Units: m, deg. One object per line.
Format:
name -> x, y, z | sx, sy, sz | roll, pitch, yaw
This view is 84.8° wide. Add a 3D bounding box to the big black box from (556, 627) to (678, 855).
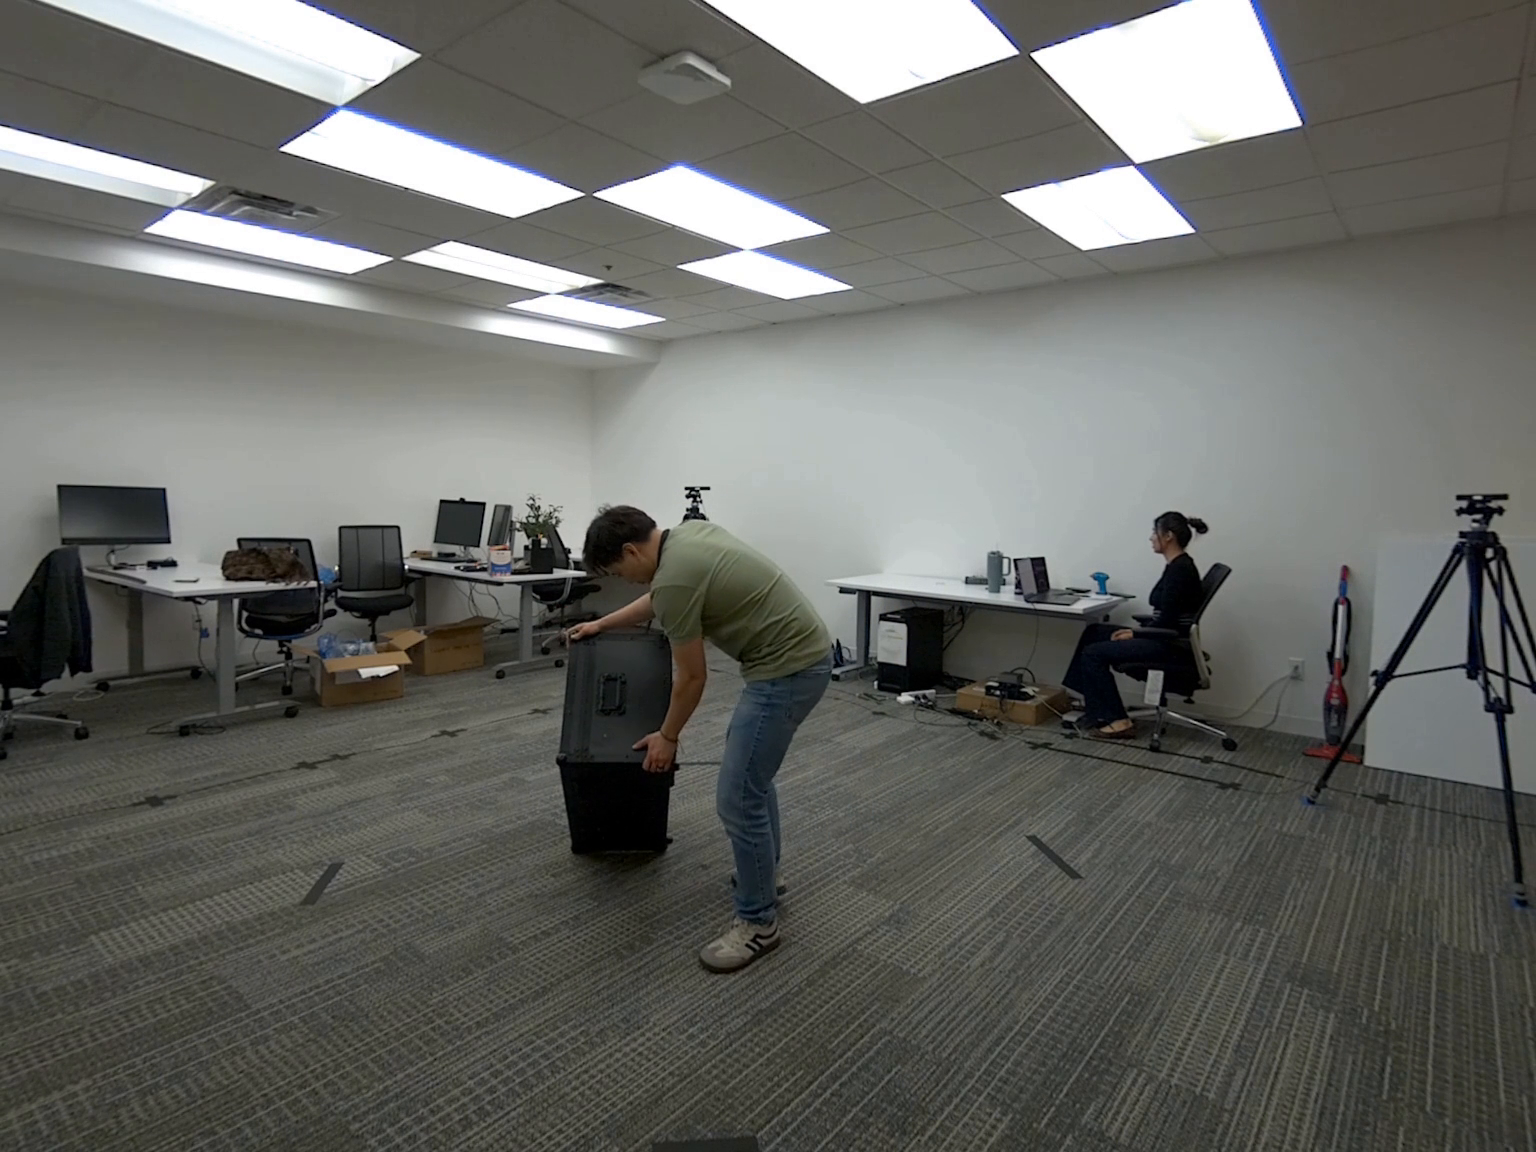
big black box -> -0.547, 0.640, 3.120 | 0.394, 0.537, 0.841 | 2, -38, -6
